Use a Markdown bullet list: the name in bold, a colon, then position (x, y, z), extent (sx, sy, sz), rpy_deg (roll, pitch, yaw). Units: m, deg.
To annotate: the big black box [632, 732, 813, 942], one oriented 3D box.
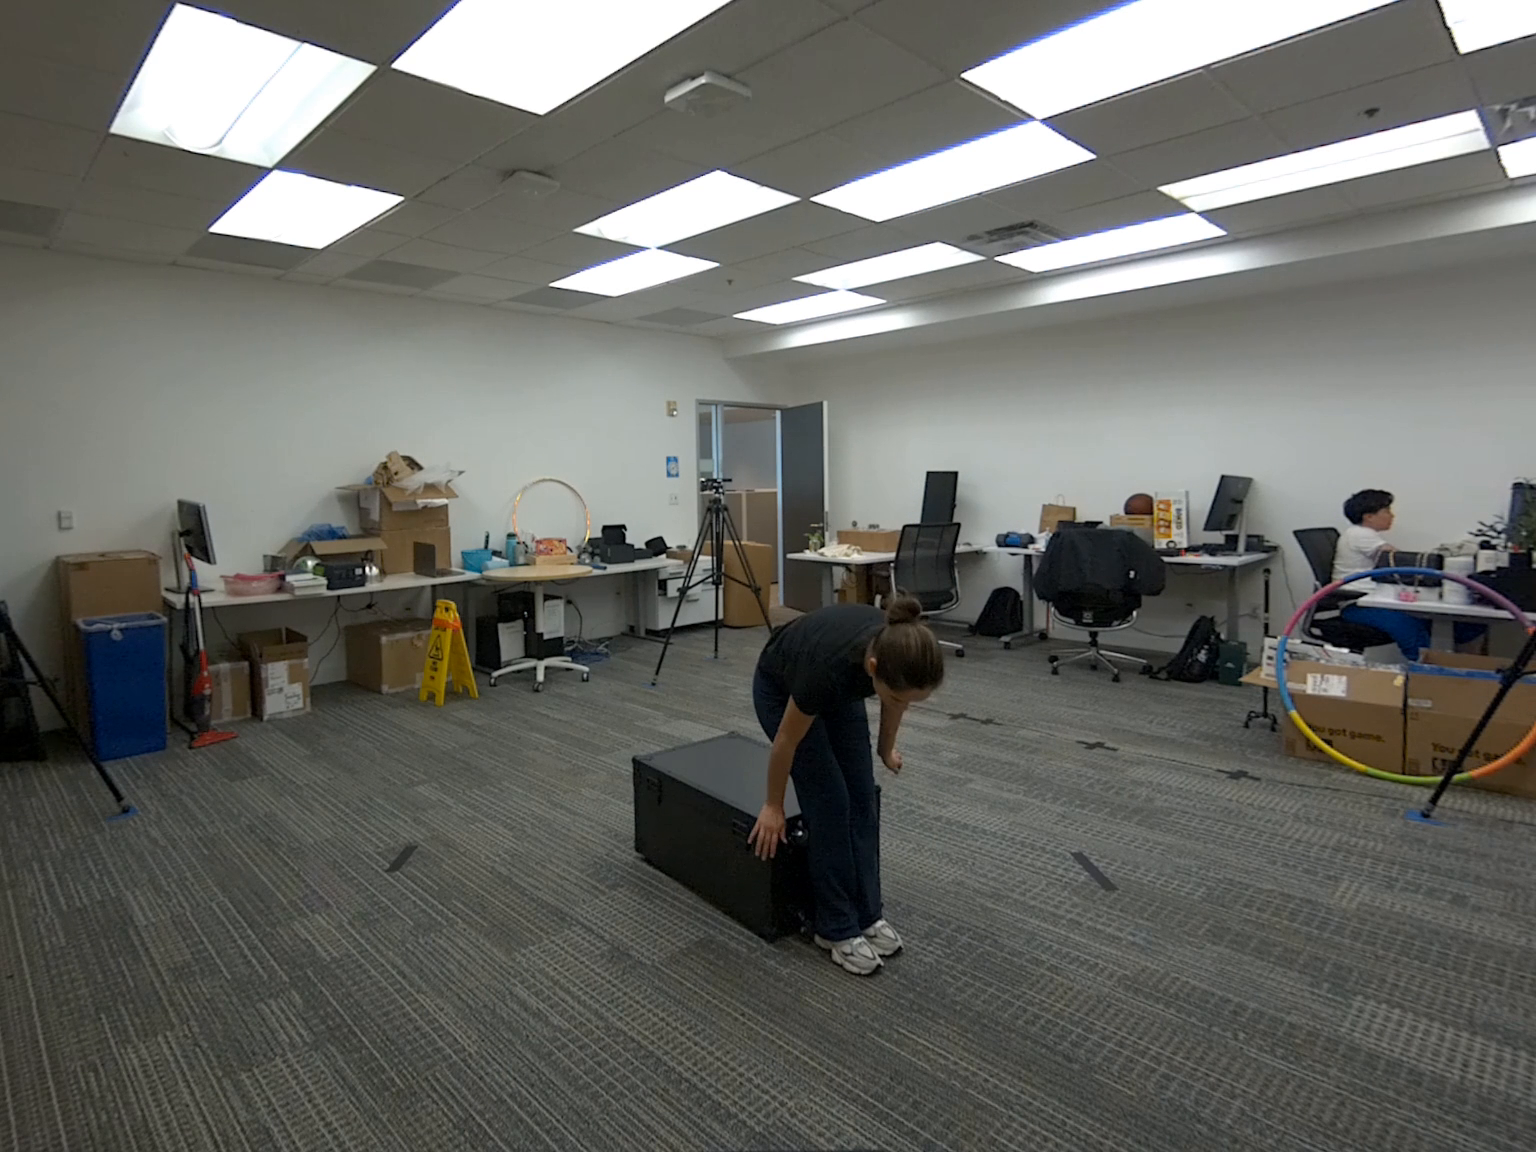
- **big black box**: position (-0.081, 0.865, 3.037), extent (0.508, 0.394, 0.889), rpy_deg (-5, 8, -39)
